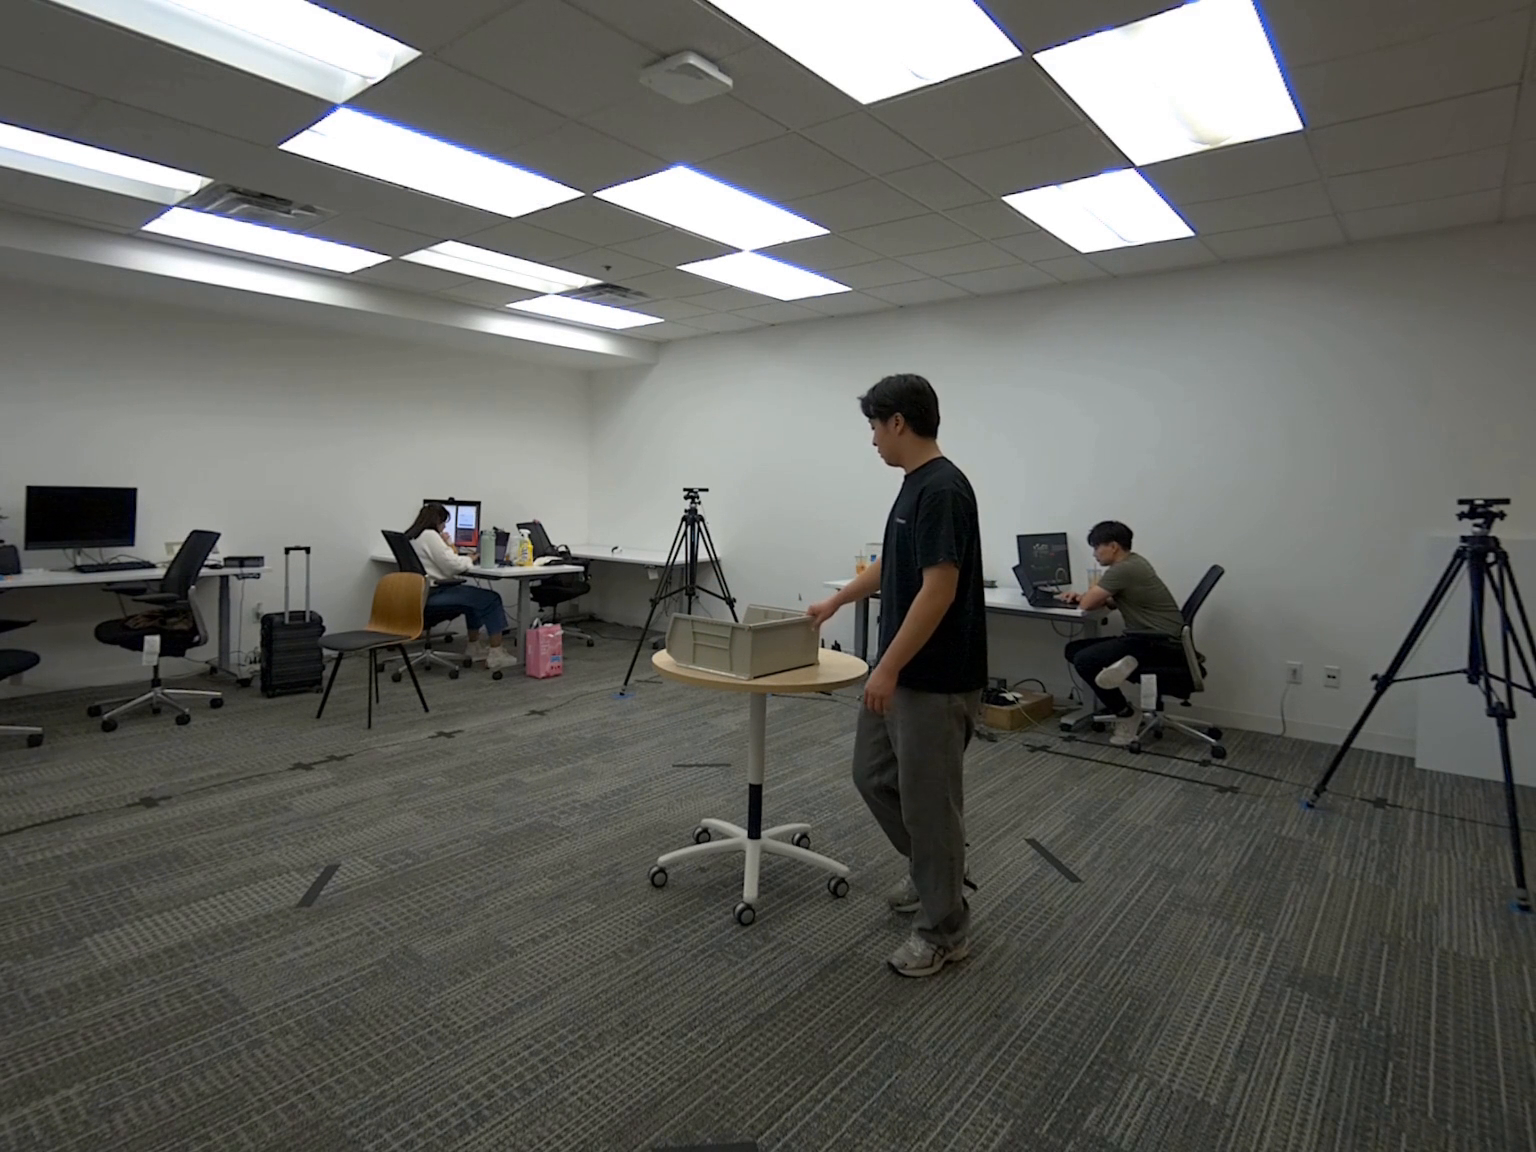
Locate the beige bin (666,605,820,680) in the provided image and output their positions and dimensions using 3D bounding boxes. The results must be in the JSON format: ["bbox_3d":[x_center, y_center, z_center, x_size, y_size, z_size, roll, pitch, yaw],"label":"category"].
[{"bbox_3d":[-0.088,0.216,2.952,0.390,0.188,0.409,7,7,39],"label":"beige bin"}]
